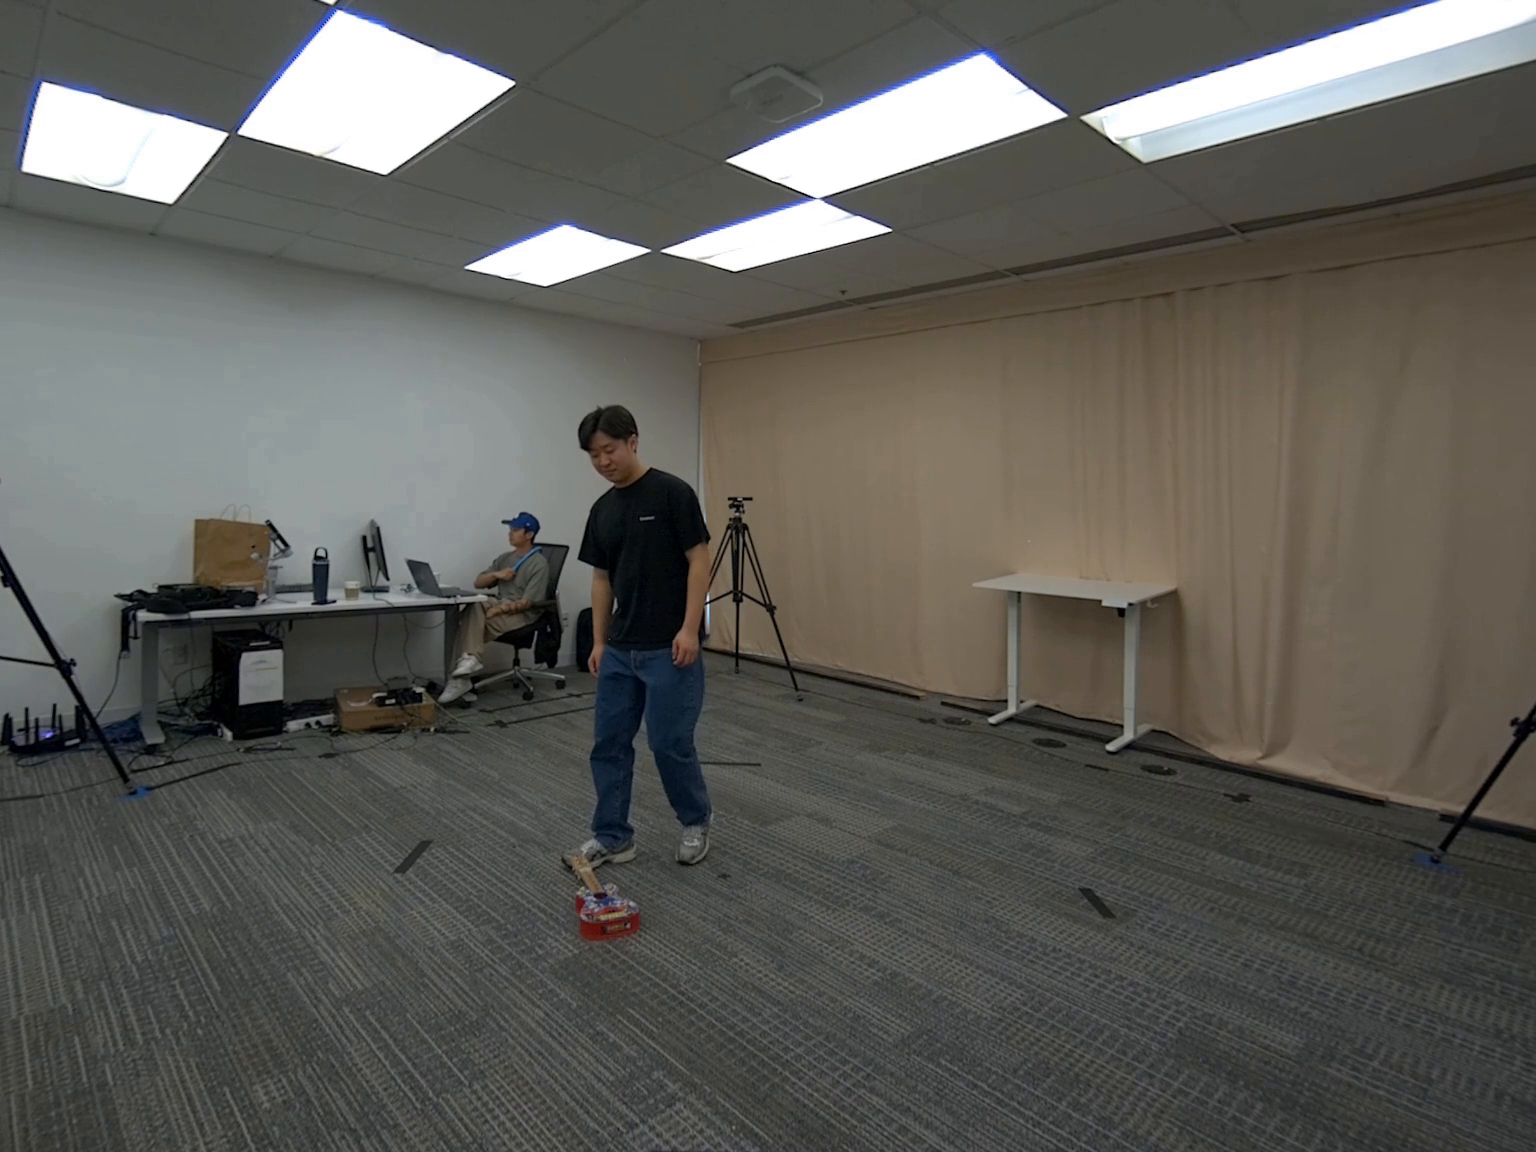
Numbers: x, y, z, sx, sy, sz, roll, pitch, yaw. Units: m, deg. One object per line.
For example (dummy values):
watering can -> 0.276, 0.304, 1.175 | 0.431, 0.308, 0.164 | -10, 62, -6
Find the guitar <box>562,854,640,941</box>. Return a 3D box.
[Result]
guitar -> -0.571, 1.083, 2.879 | 0.190, 0.070, 0.506 | -1, 6, -18
